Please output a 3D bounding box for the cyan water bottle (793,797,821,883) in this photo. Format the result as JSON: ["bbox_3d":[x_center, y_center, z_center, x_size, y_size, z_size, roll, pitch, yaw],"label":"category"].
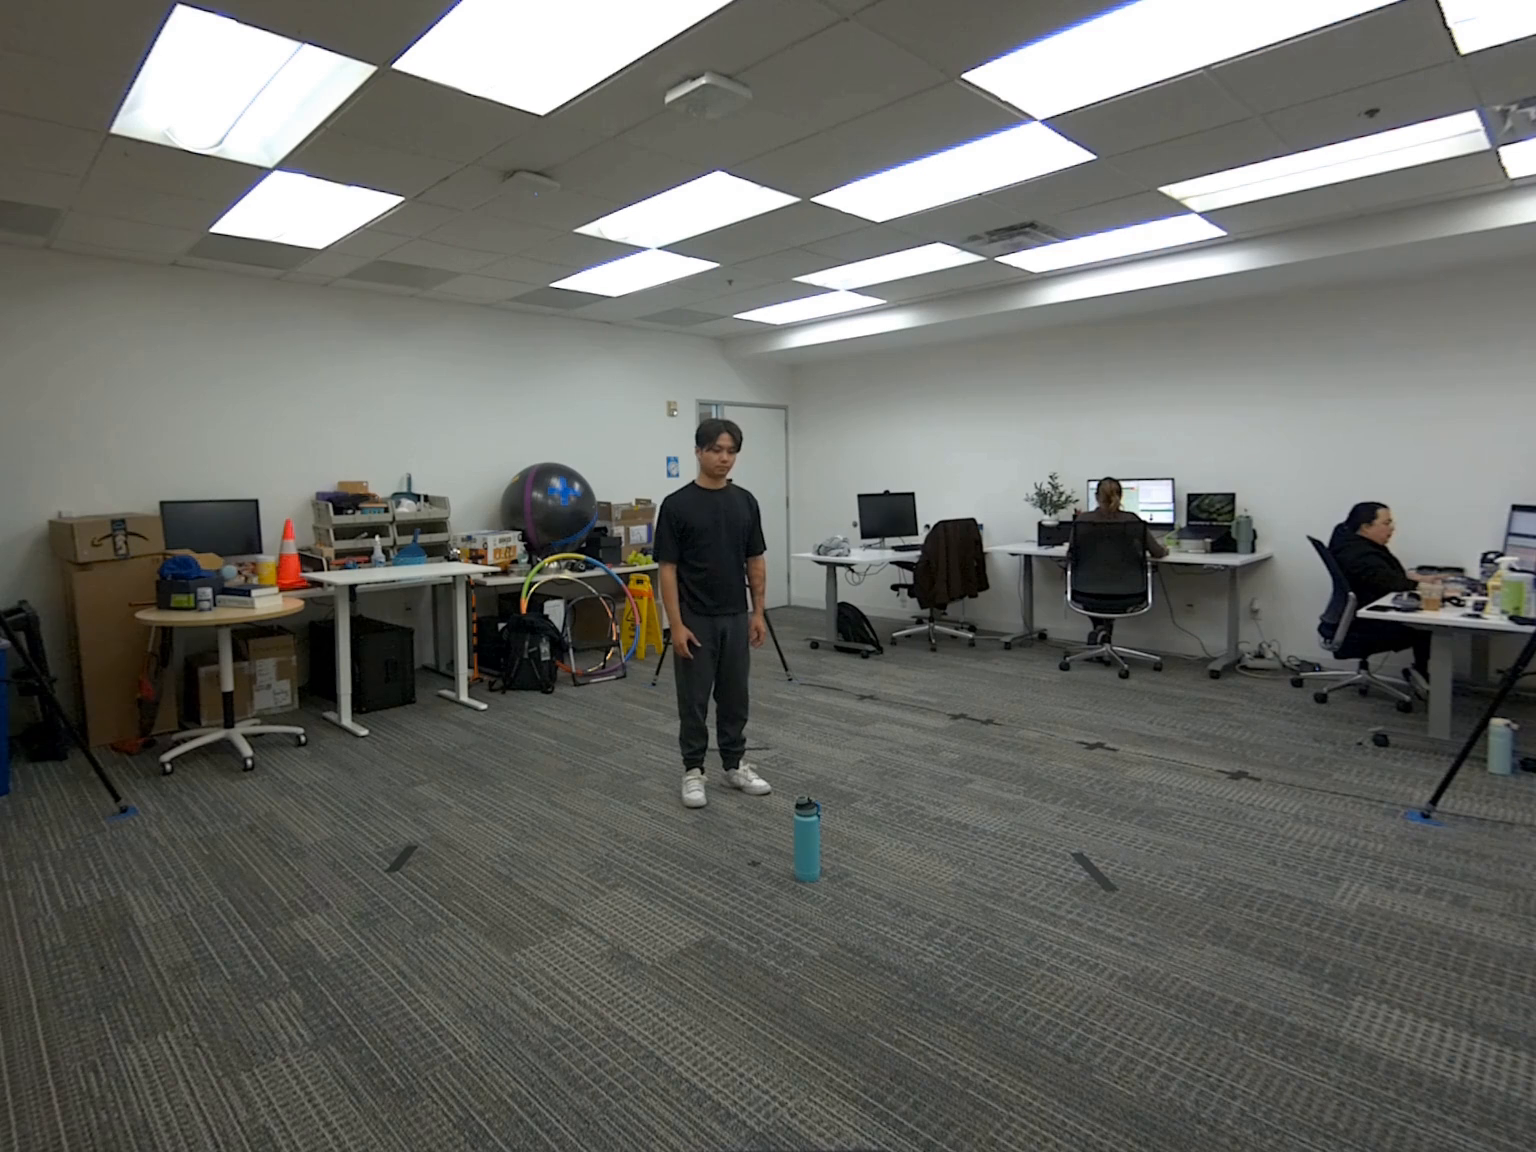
[{"bbox_3d":[0.142,0.915,2.986,0.092,0.282,0.093,0,3,-2],"label":"cyan water bottle"}]
